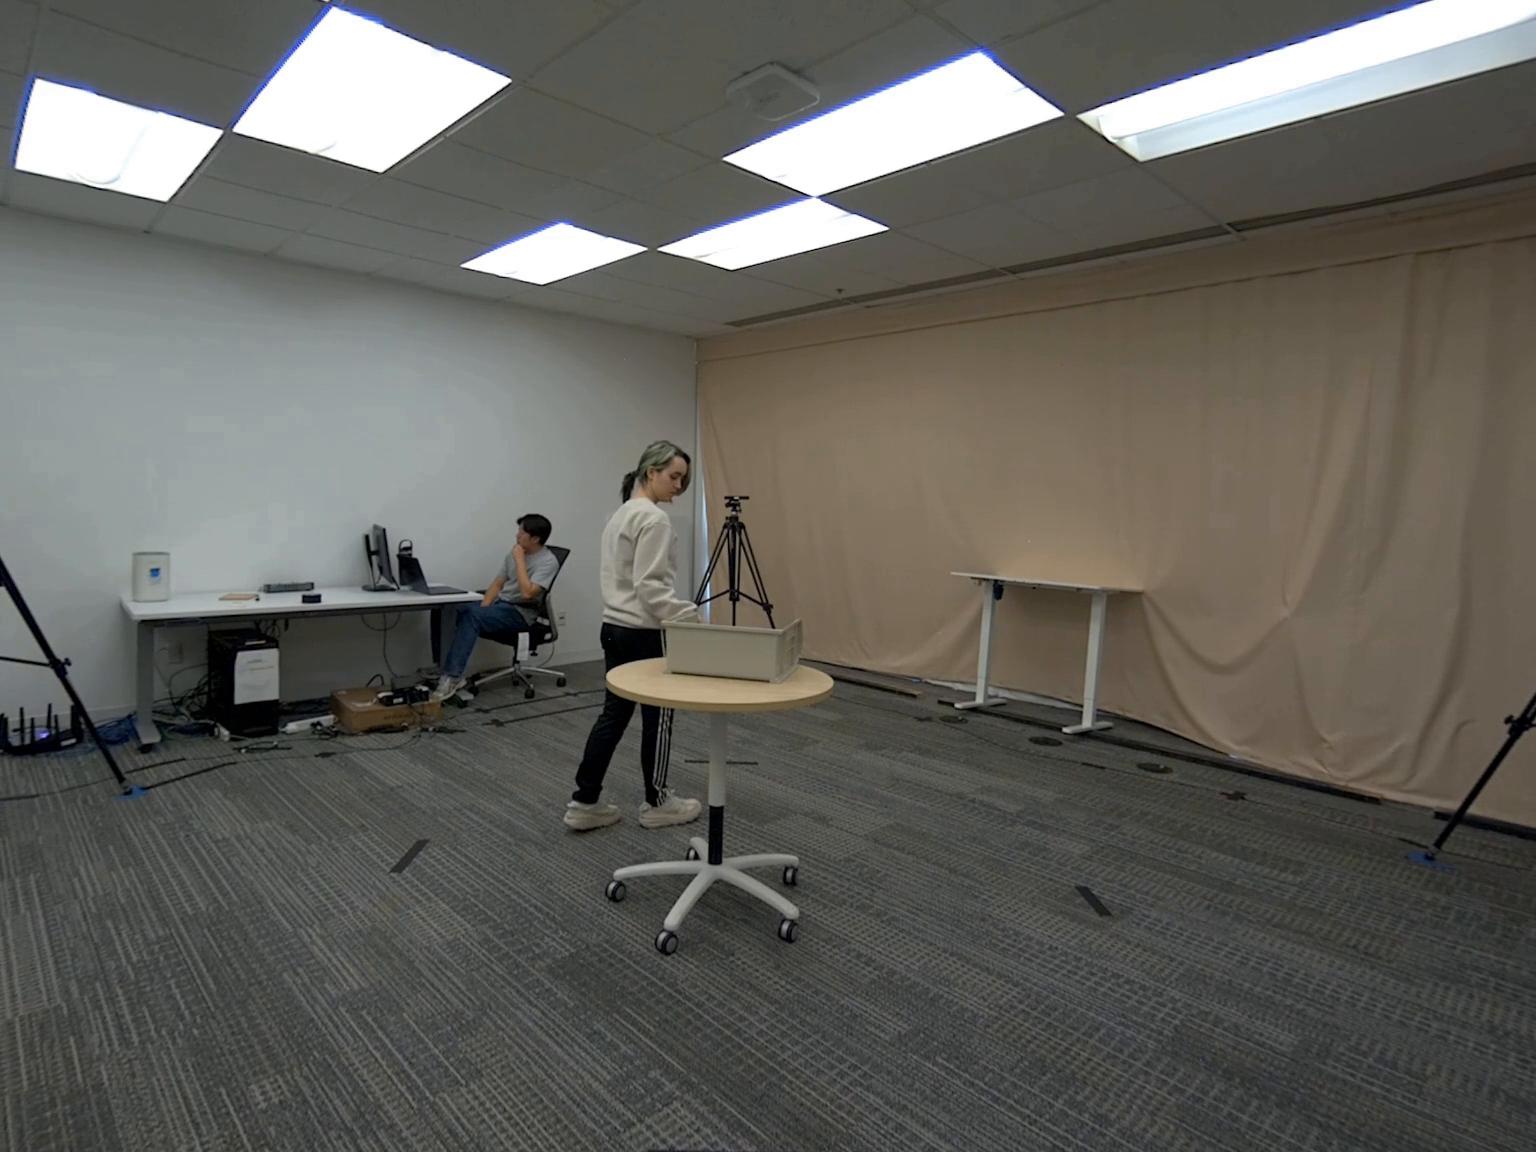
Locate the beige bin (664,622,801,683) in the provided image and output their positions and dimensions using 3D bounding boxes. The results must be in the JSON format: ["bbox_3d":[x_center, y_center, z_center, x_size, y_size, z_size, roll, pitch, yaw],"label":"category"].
[{"bbox_3d":[-0.123,0.240,2.980,0.428,0.188,0.374,3,7,15],"label":"beige bin"}]
